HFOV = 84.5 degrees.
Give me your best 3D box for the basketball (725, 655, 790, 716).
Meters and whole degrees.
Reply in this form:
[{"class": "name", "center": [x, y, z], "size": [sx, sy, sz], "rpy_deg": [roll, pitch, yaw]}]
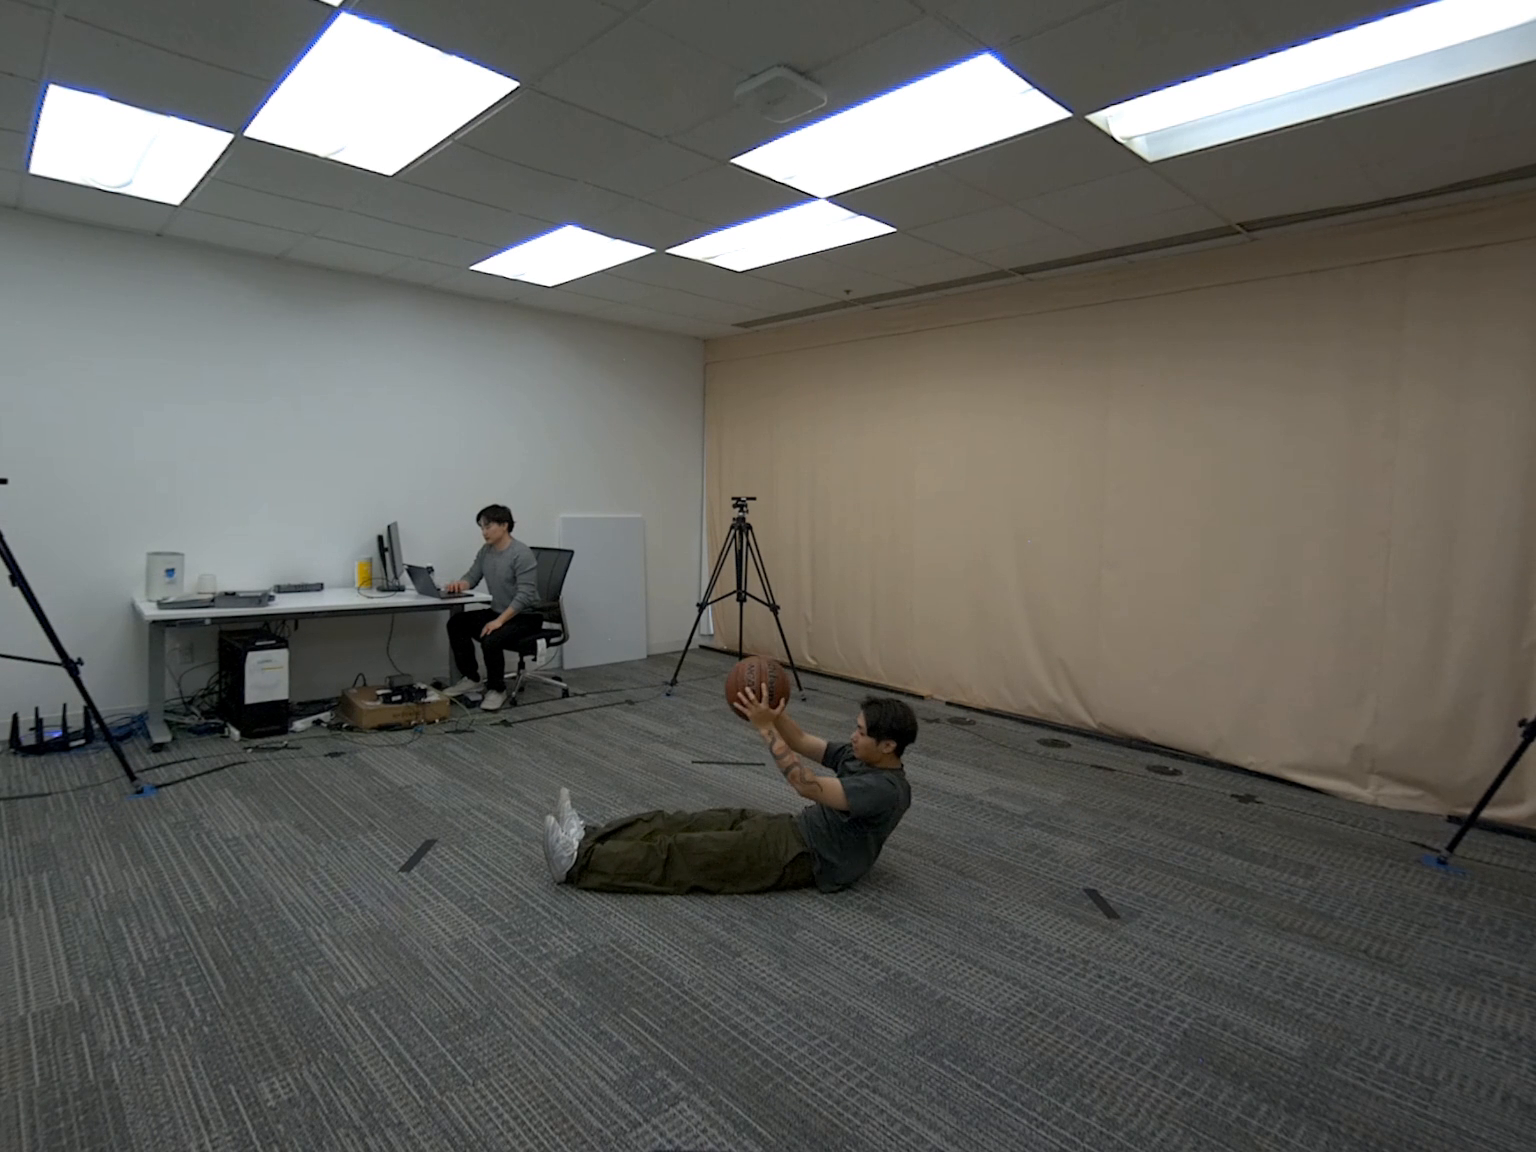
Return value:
[{"class": "basketball", "center": [-0.032, 0.414, 3.066], "size": [0.236, 0.235, 0.237], "rpy_deg": [1, 4, -1]}]
